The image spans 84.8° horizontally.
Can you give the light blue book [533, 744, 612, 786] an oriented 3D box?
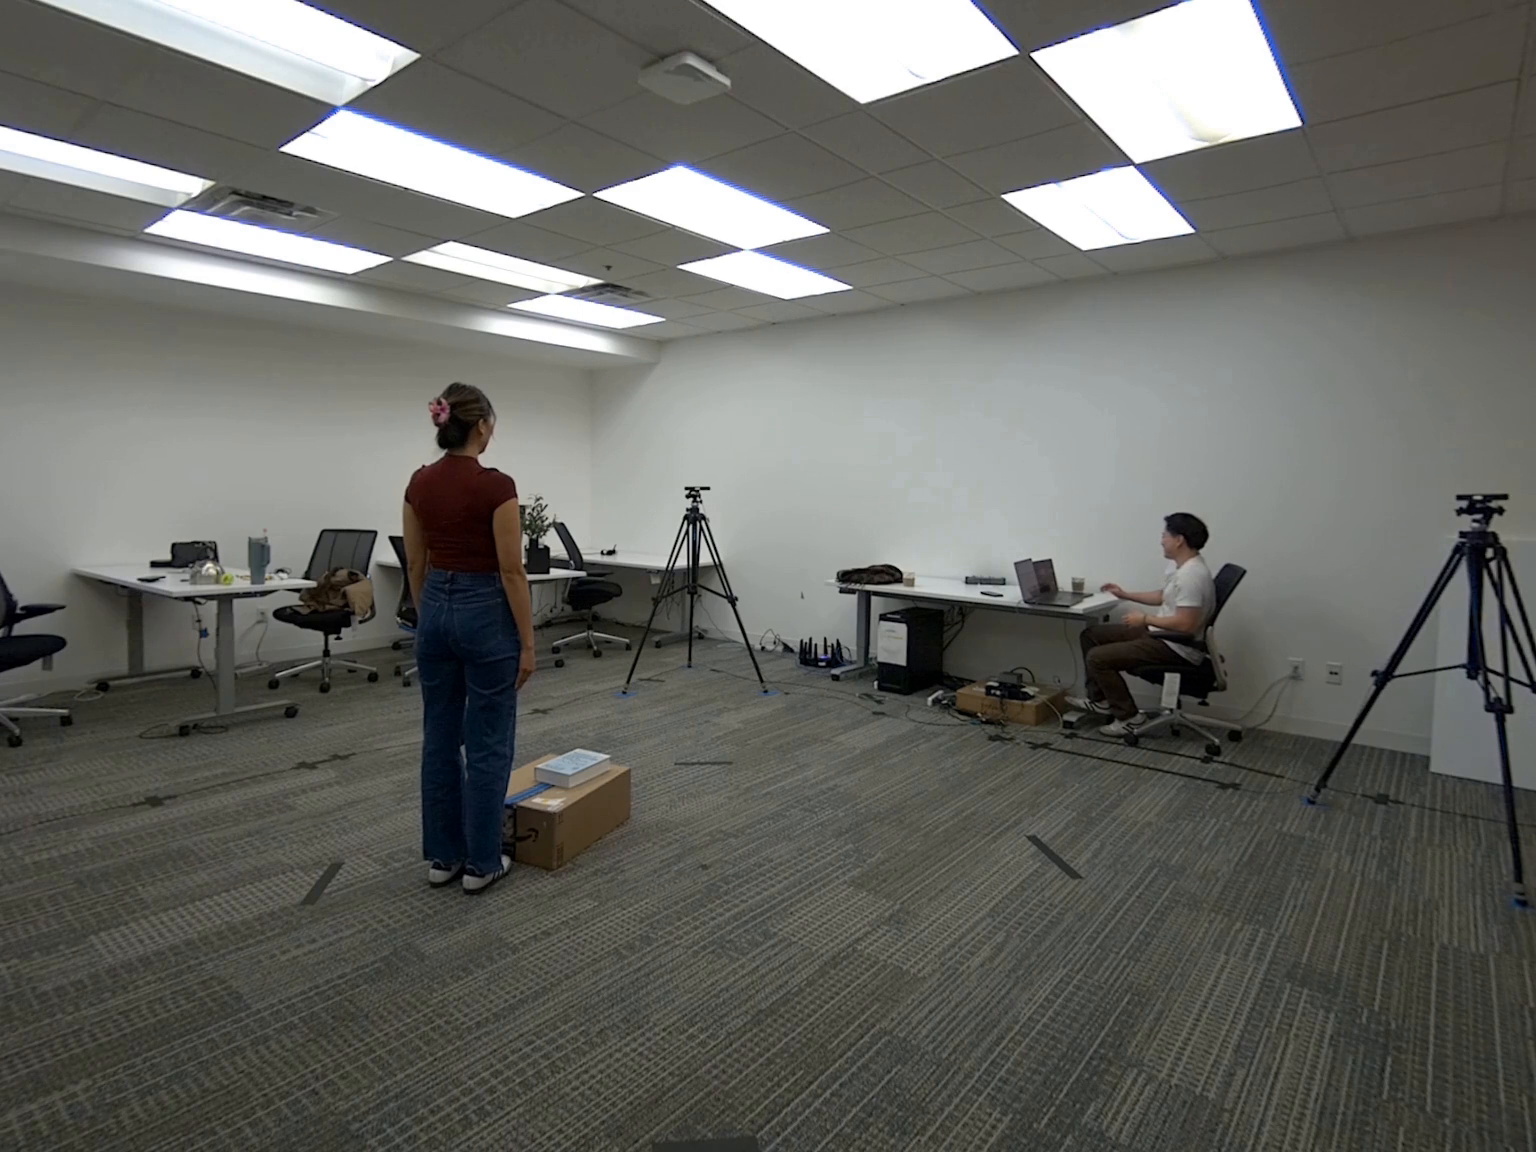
[{"bbox_3d":[-0.807,0.776,3.476,0.197,0.059,0.255,4,8,29],"label":"light blue book"}]
